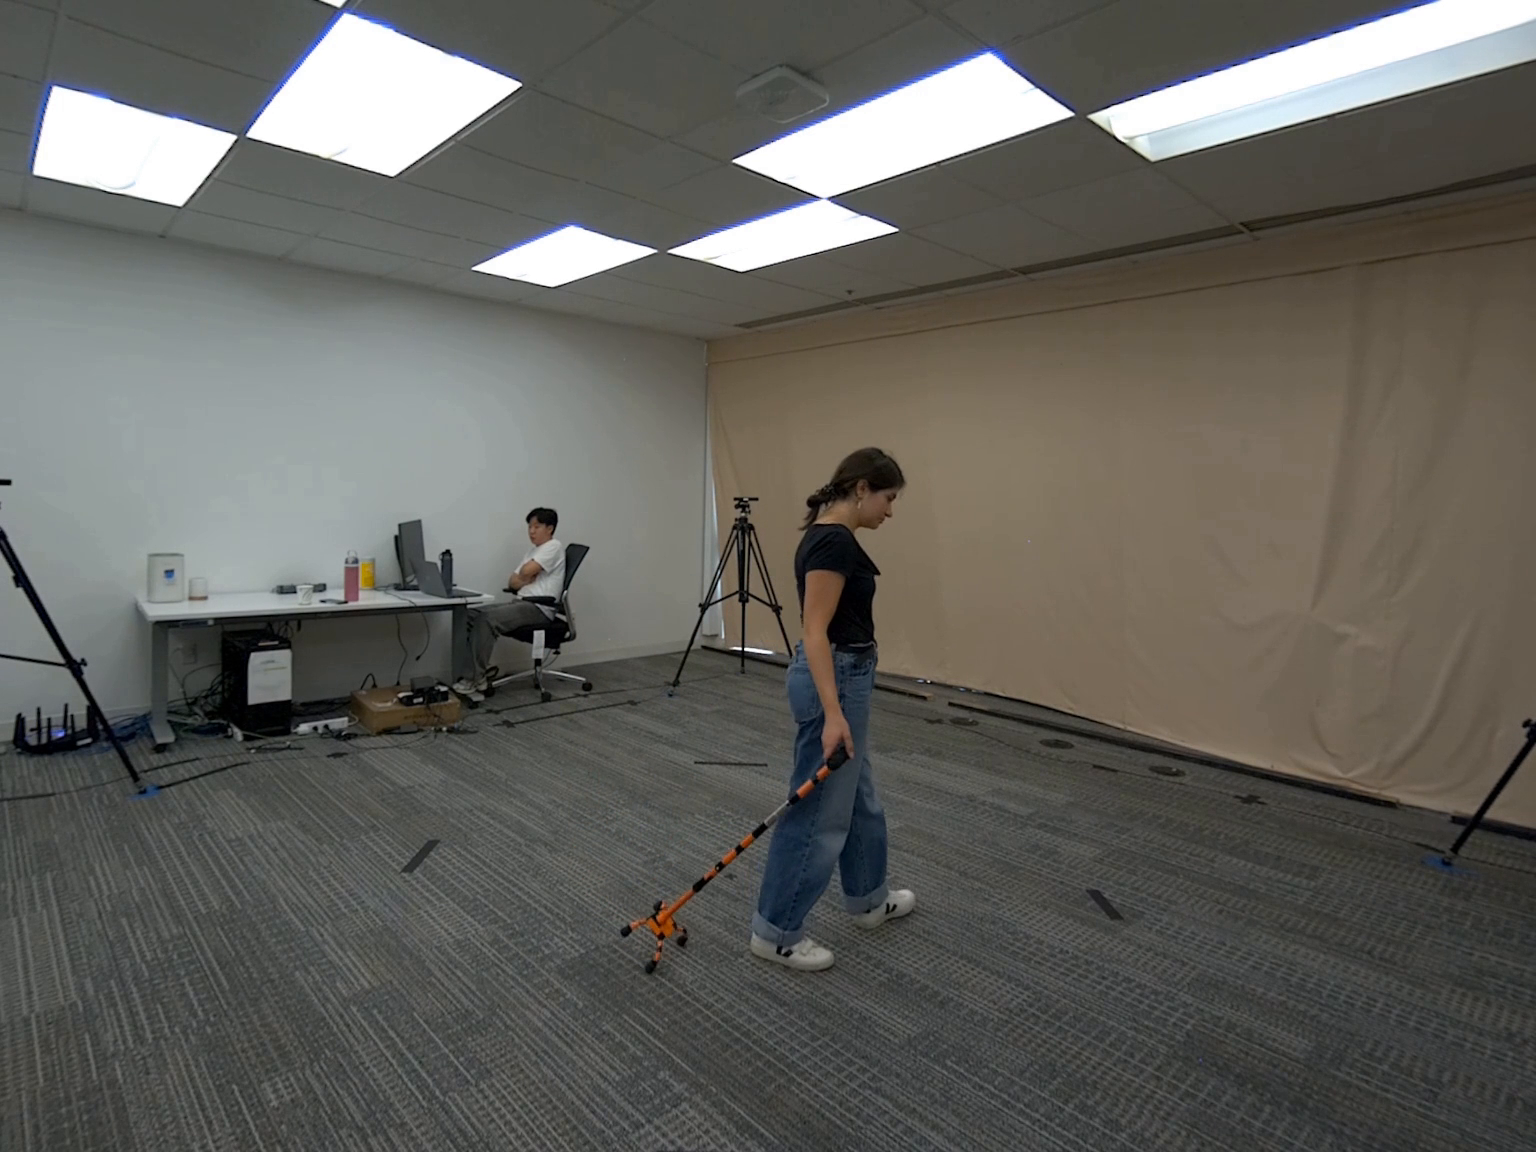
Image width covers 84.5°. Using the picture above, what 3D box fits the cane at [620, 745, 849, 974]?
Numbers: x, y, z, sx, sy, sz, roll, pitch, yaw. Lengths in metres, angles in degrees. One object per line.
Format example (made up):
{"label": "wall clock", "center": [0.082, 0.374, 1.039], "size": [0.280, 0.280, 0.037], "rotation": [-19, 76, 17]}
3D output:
{"label": "cane", "center": [-0.072, 0.794, 2.389], "size": [0.154, 0.907, 0.203], "rotation": [48, 23, 14]}
